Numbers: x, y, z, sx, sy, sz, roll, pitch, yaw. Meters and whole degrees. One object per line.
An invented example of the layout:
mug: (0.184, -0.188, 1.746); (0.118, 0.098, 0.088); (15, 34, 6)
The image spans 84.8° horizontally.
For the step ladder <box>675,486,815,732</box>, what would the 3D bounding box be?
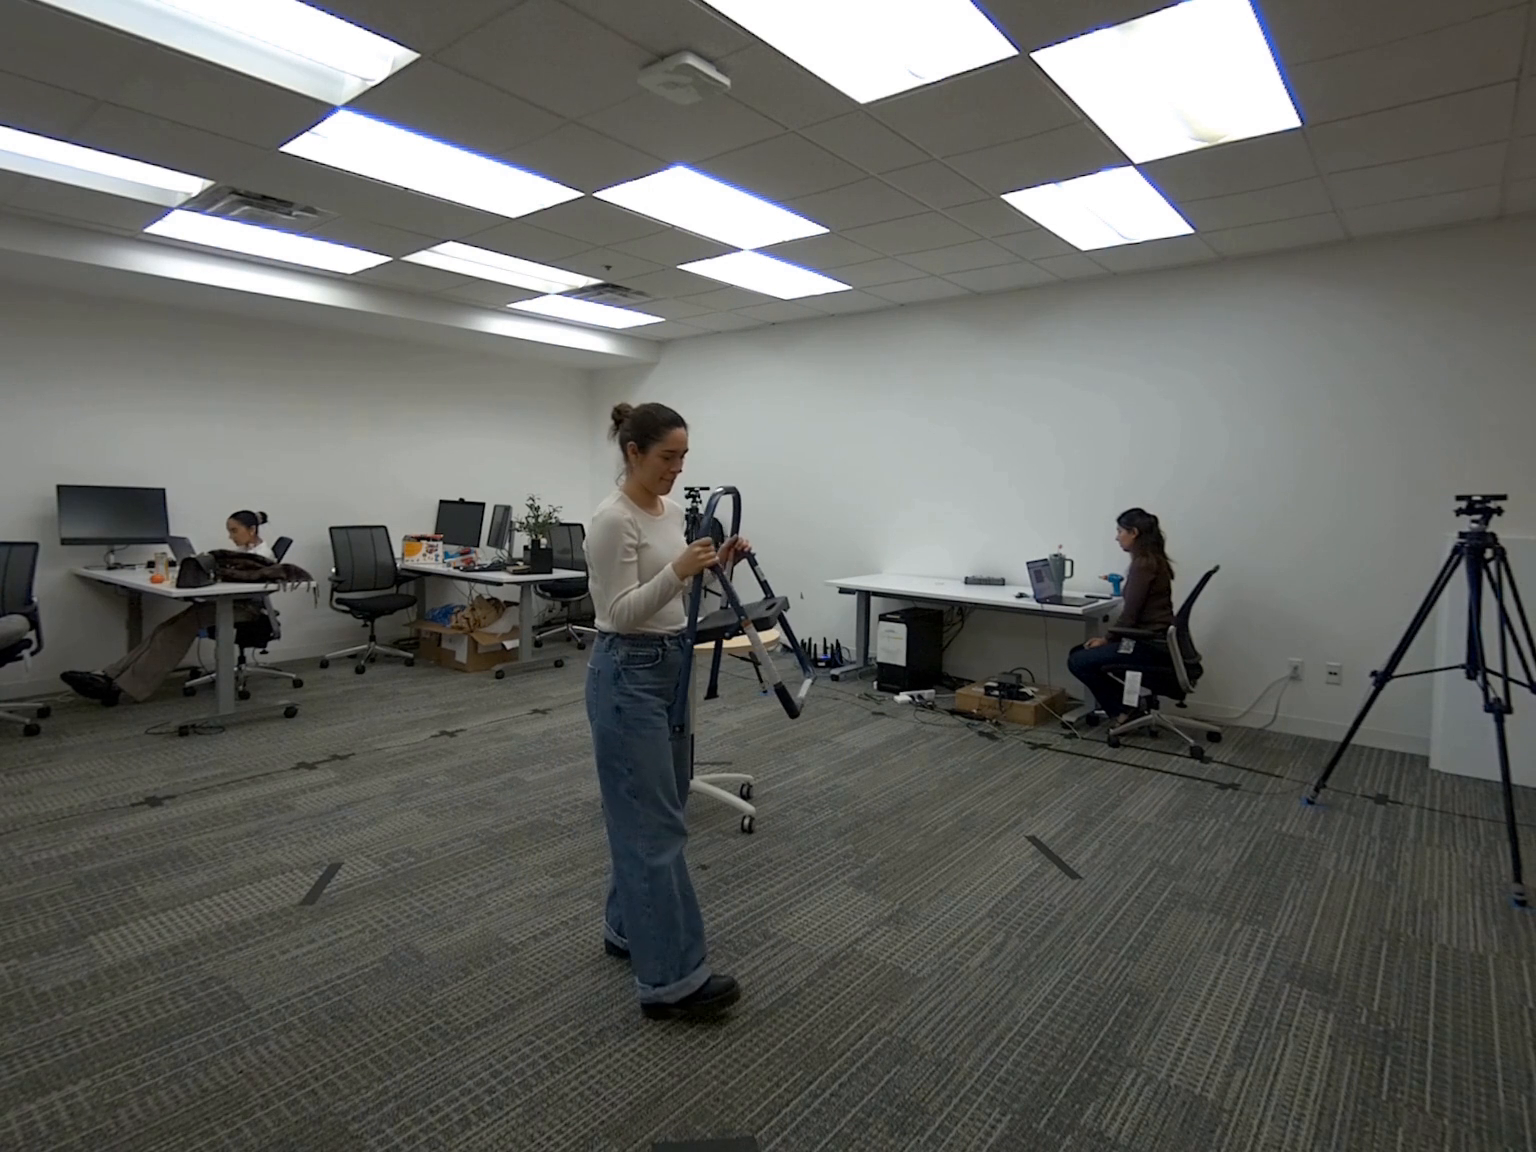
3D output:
step ladder: (-0.125, 0.063, 2.335); (0.353, 0.605, 0.427); (-12, 2, 12)
